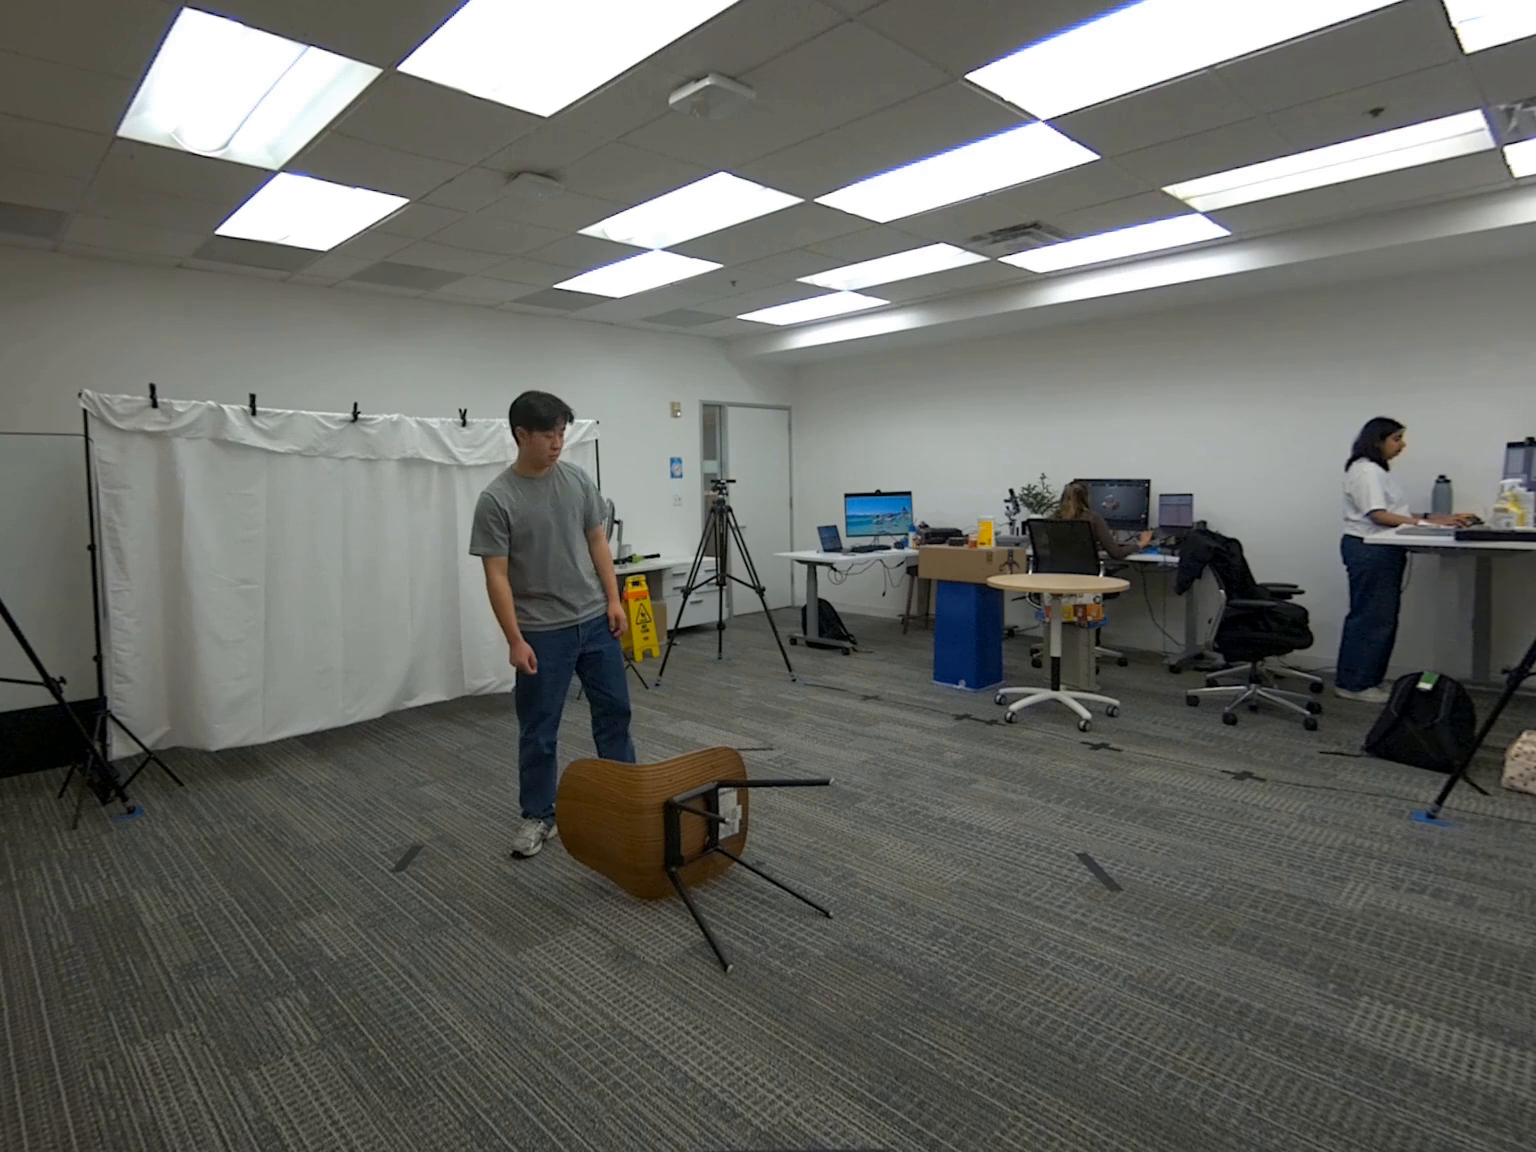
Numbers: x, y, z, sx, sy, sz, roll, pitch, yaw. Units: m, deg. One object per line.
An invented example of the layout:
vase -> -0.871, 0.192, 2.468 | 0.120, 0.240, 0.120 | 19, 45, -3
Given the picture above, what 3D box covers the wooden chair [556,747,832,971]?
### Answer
wooden chair -> -0.243, 0.848, 2.871 | 0.905, 0.476, 0.510 | 5, 8, 42
